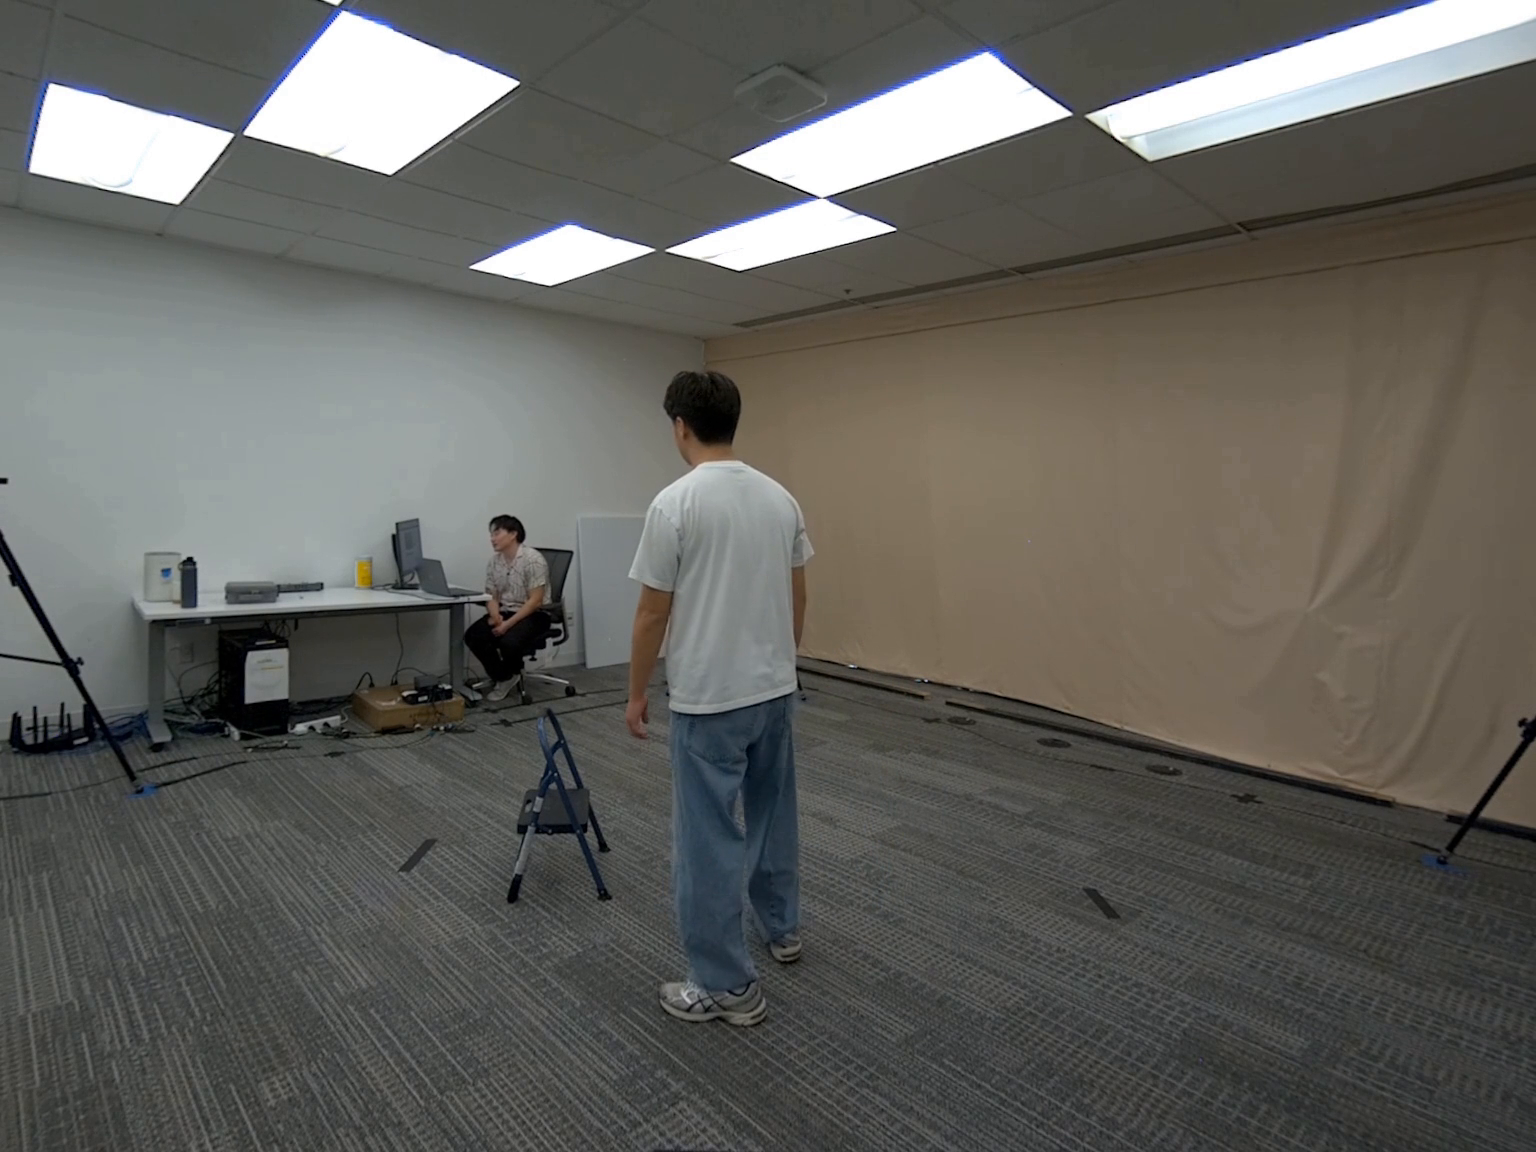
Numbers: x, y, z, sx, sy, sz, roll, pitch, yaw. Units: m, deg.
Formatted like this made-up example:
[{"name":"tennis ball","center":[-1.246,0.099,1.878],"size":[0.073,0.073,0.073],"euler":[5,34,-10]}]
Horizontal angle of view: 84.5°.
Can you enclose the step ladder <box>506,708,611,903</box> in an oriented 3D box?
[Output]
[{"name":"step ladder","center":[-0.752,0.796,3.066],"size":[0.346,0.605,0.435],"euler":[1,3,-11]}]
